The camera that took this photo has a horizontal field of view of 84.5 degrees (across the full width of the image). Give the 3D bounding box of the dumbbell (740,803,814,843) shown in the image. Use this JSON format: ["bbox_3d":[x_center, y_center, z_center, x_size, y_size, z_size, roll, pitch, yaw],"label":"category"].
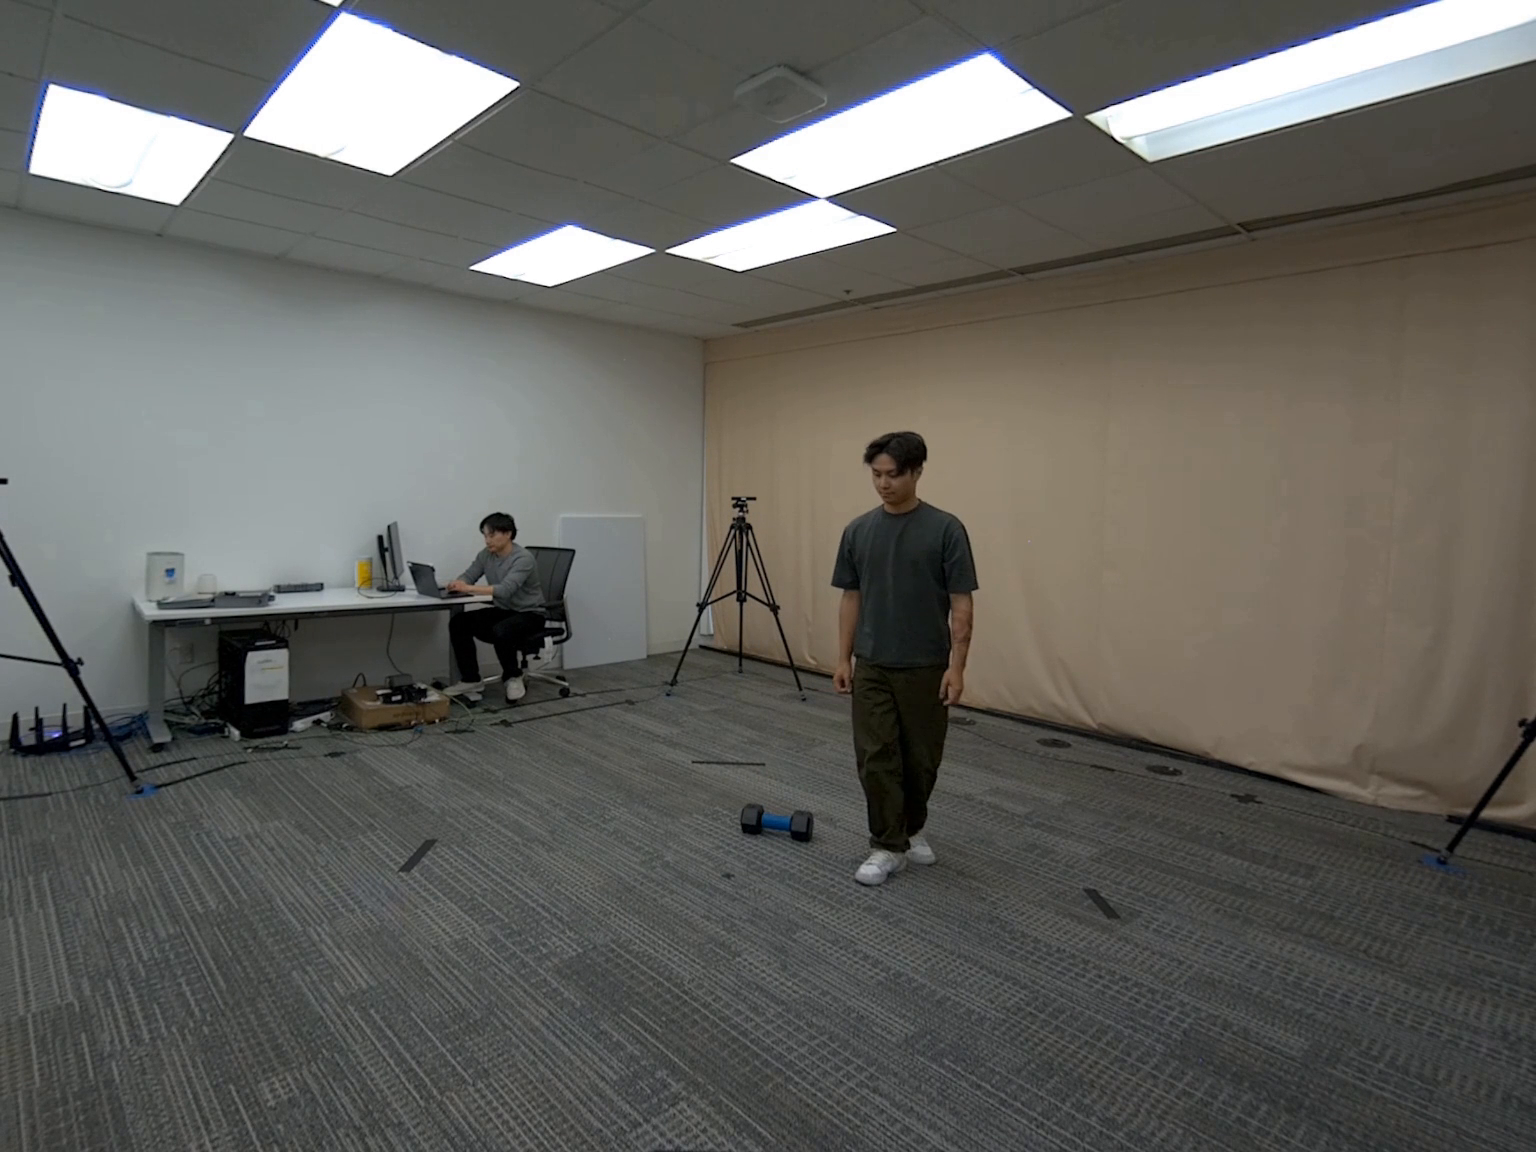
[{"bbox_3d":[0.029,1.016,3.495,0.298,0.108,0.122,2,6,17],"label":"dumbbell"}]
